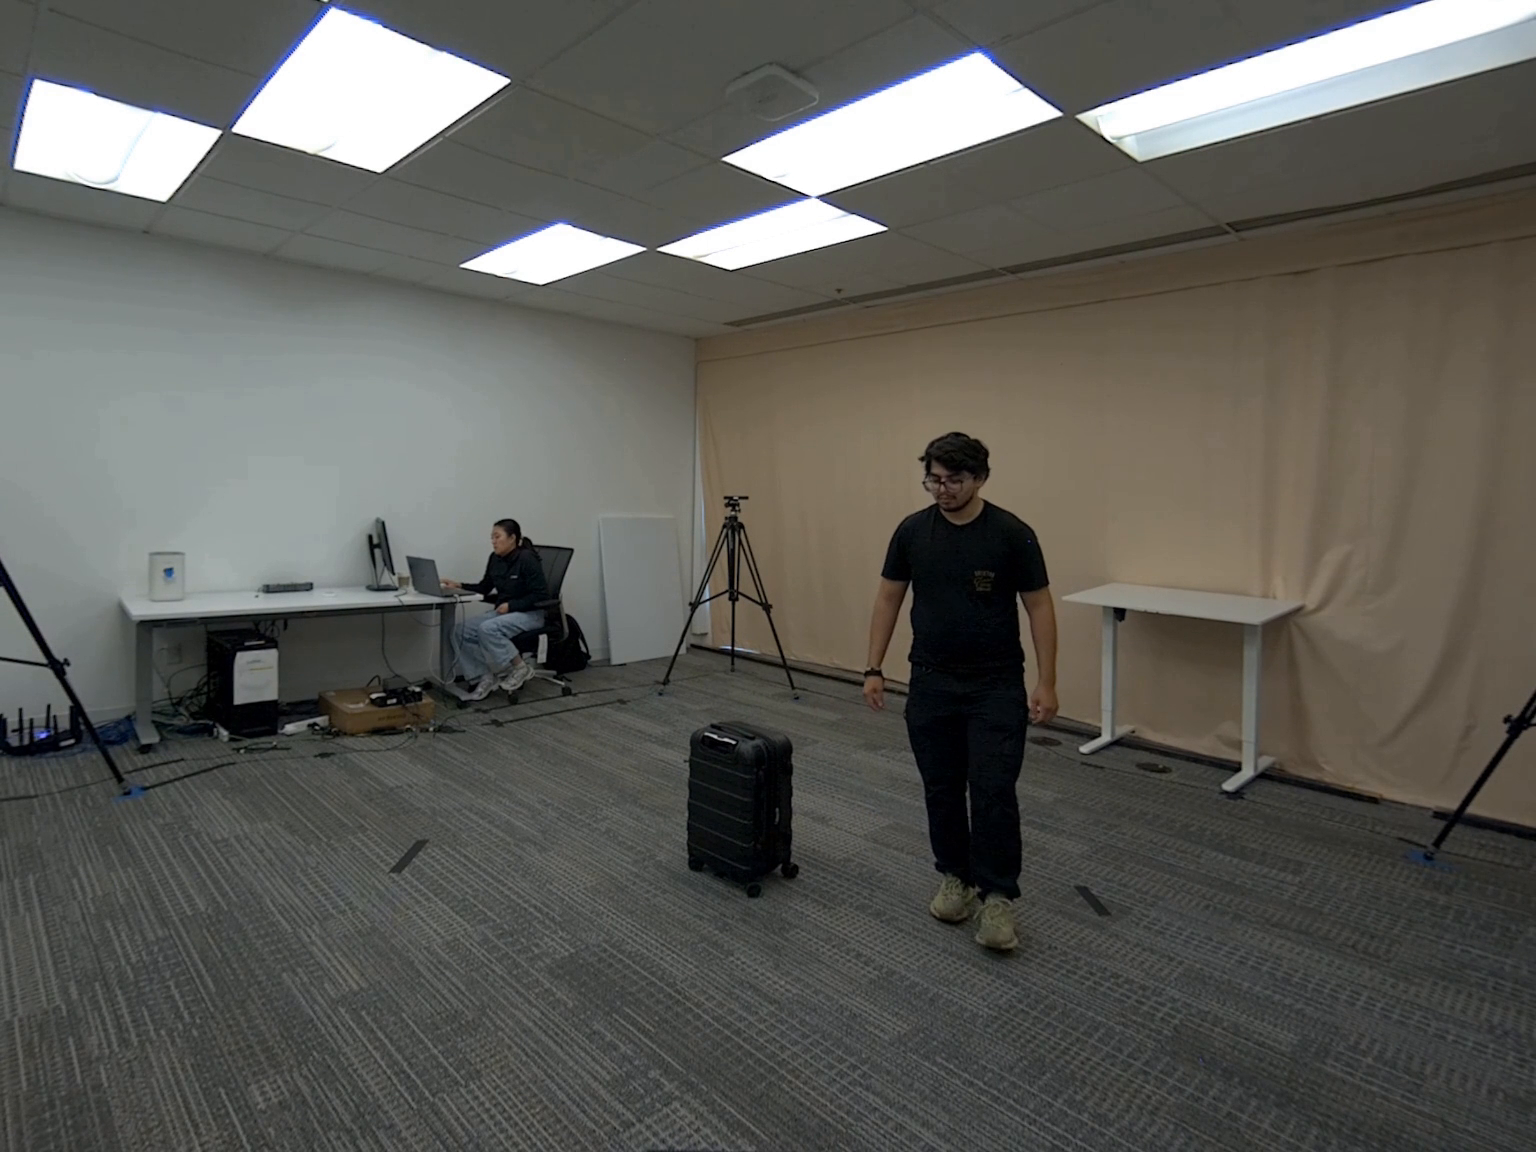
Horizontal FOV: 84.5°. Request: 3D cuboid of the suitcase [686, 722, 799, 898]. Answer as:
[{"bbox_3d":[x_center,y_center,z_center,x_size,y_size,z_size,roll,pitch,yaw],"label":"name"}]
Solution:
[{"bbox_3d":[-0.112,0.830,3.114,0.243,0.548,0.385,-3,5,-45],"label":"suitcase"}]
